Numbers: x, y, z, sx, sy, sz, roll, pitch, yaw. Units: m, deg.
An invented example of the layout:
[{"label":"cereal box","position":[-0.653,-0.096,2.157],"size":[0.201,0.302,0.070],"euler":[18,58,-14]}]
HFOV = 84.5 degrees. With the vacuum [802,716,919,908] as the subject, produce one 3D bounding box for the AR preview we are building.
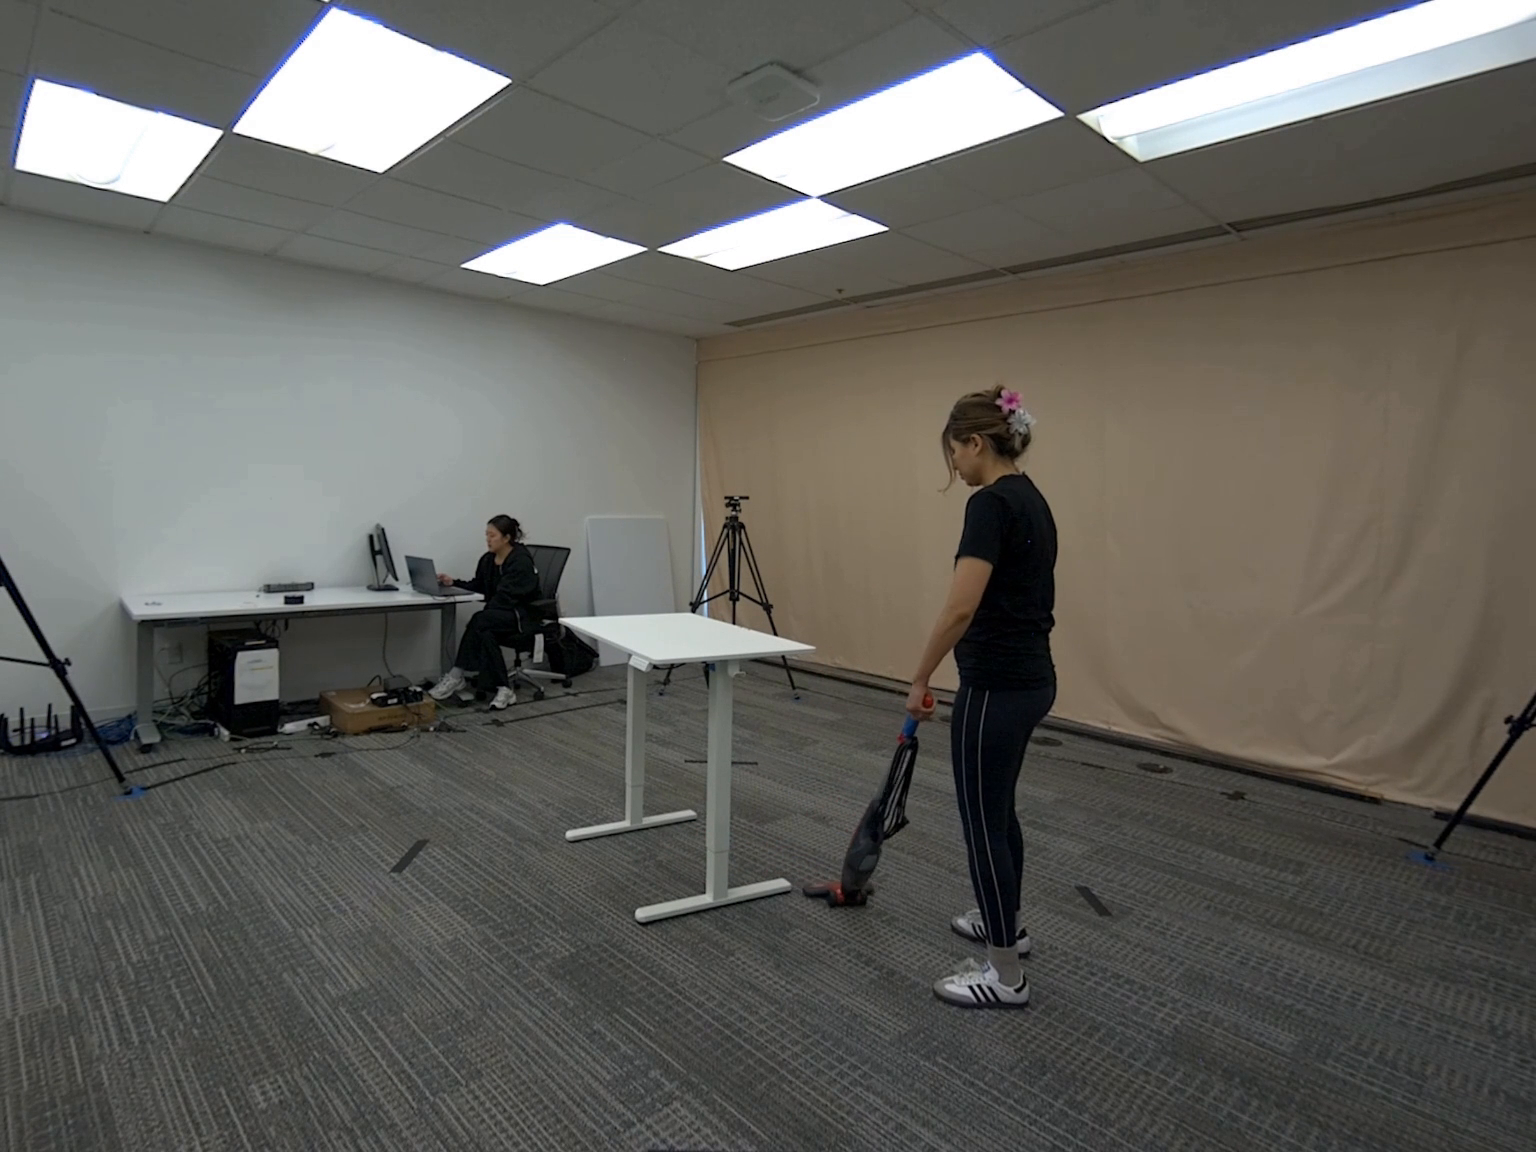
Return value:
[{"label":"vacuum","position":[0.342,0.745,2.609],"size":[0.250,1.032,0.147],"euler":[4,42,-10]}]
